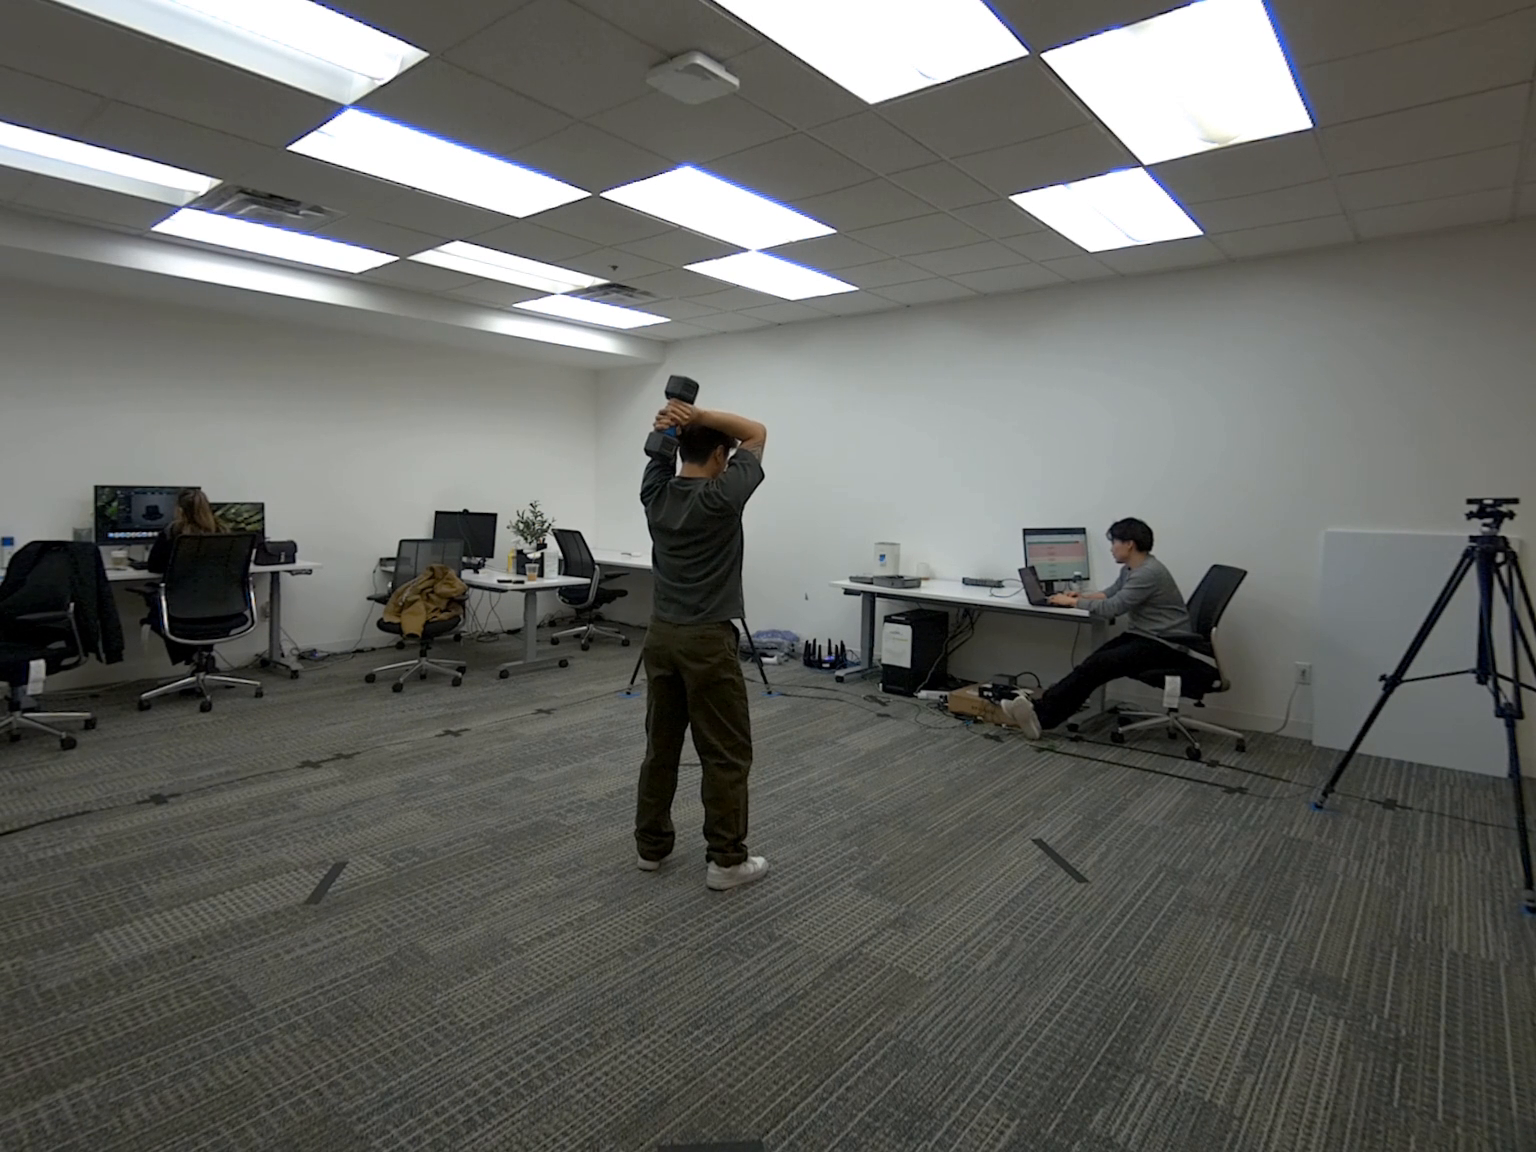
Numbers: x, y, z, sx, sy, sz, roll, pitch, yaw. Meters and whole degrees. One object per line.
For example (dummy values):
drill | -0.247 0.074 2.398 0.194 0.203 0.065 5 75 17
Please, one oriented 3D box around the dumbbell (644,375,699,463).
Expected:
dumbbell | -0.344 -0.550 2.934 0.119 0.295 0.112 24 -9 -28
